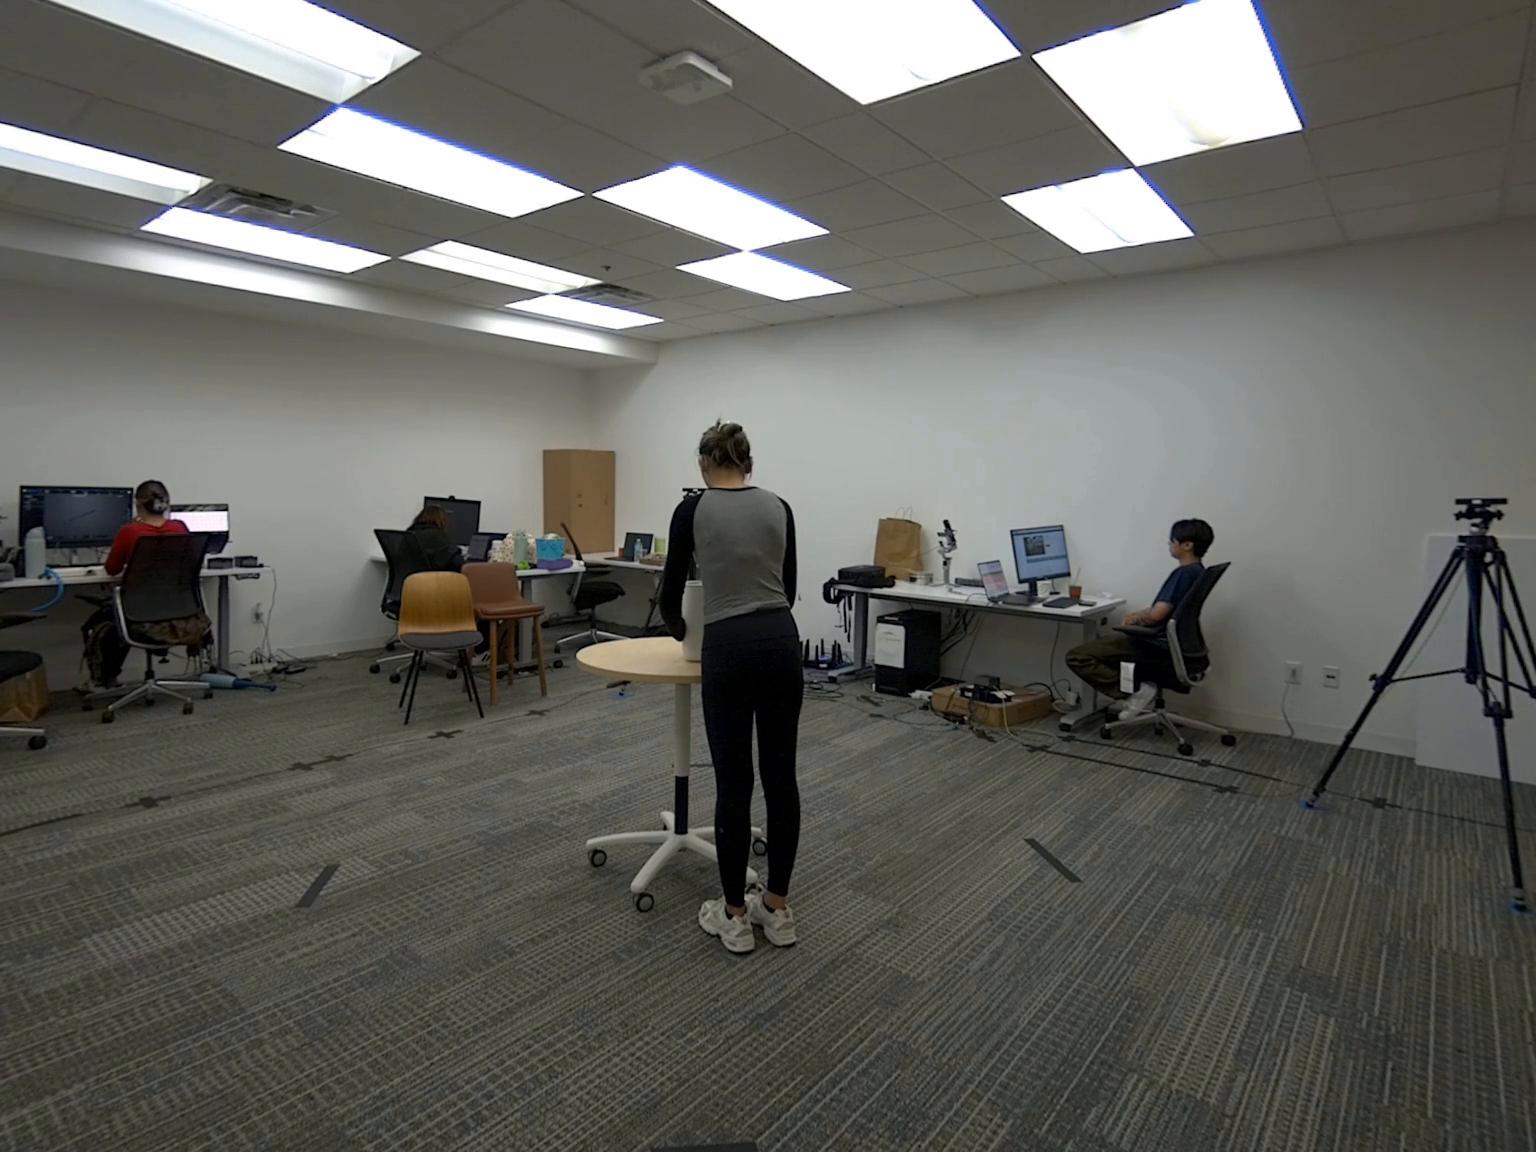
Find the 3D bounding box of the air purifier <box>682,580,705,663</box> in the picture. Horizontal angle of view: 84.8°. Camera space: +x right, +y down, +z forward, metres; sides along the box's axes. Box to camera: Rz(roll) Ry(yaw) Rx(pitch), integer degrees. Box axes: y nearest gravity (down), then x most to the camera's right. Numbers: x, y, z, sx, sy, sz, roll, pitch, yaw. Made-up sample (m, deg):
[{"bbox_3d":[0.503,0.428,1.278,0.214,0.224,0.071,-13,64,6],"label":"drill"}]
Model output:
[{"bbox_3d":[-0.223,0.156,2.970,0.170,0.265,0.173,2,3,-7],"label":"air purifier"}]
